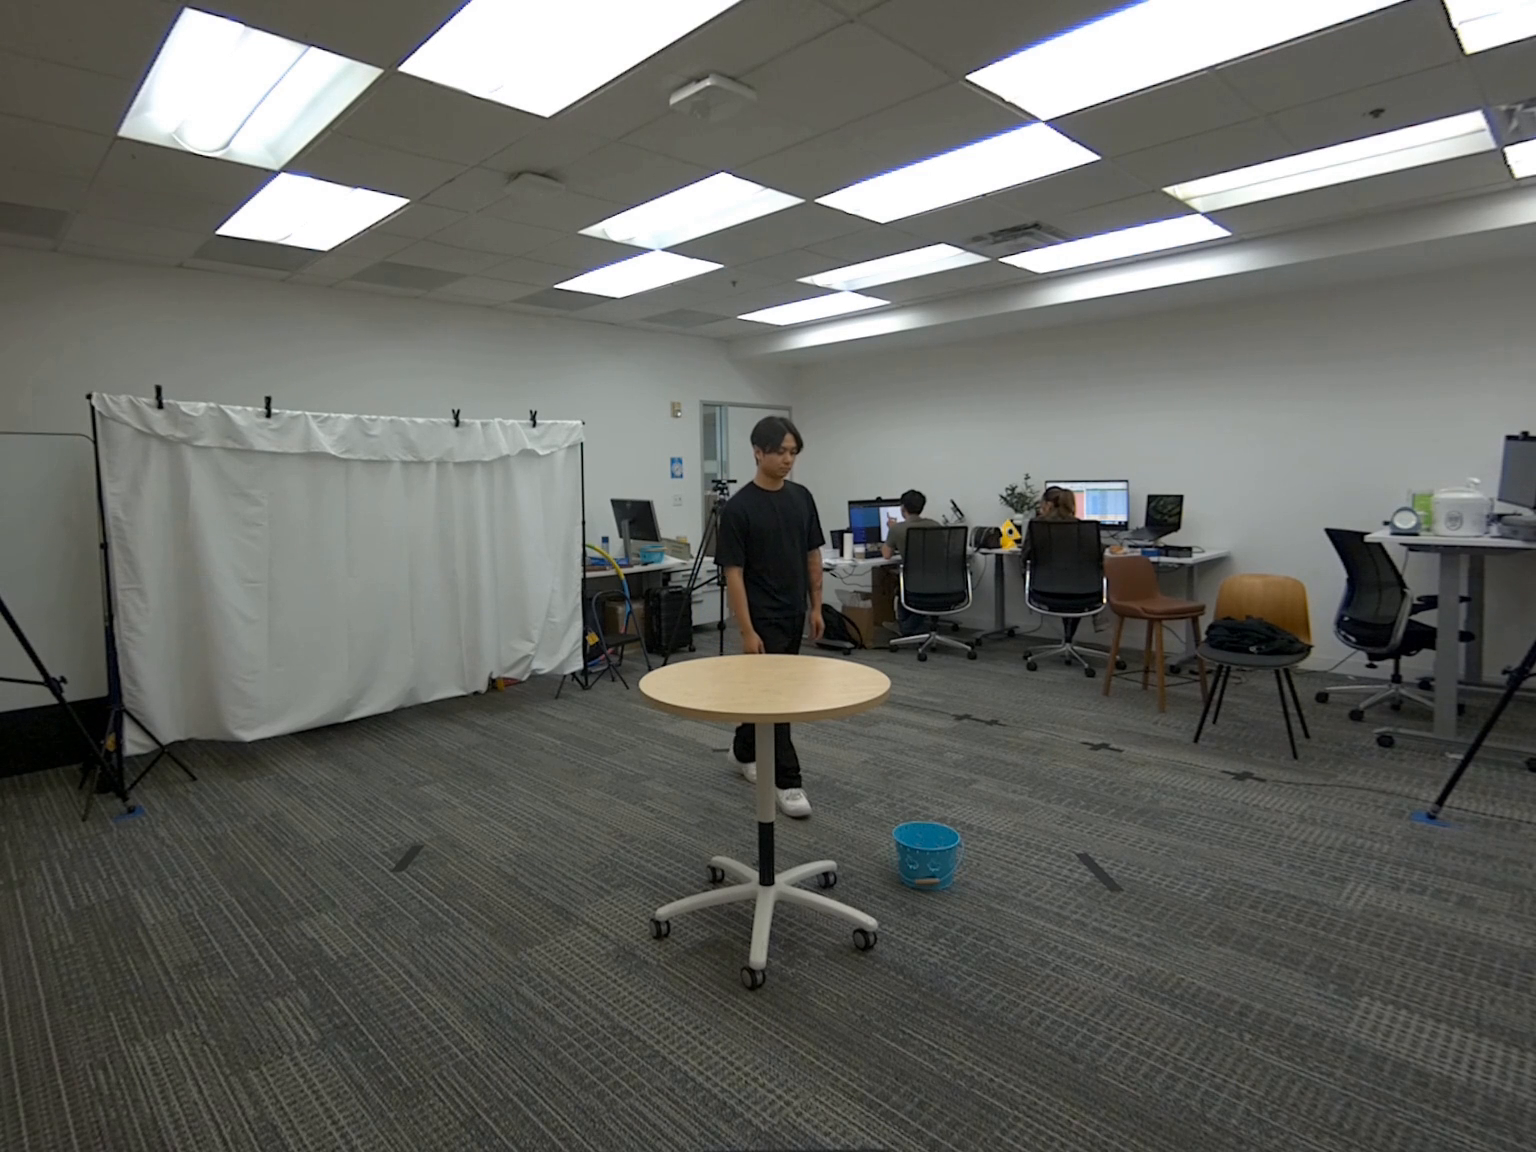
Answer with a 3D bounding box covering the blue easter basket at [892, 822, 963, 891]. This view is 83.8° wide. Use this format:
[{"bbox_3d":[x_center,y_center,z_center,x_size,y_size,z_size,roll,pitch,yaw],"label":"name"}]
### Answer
[{"bbox_3d":[0.551,0.972,2.967,0.243,0.155,0.245,-2,5,-2],"label":"blue easter basket"}]
